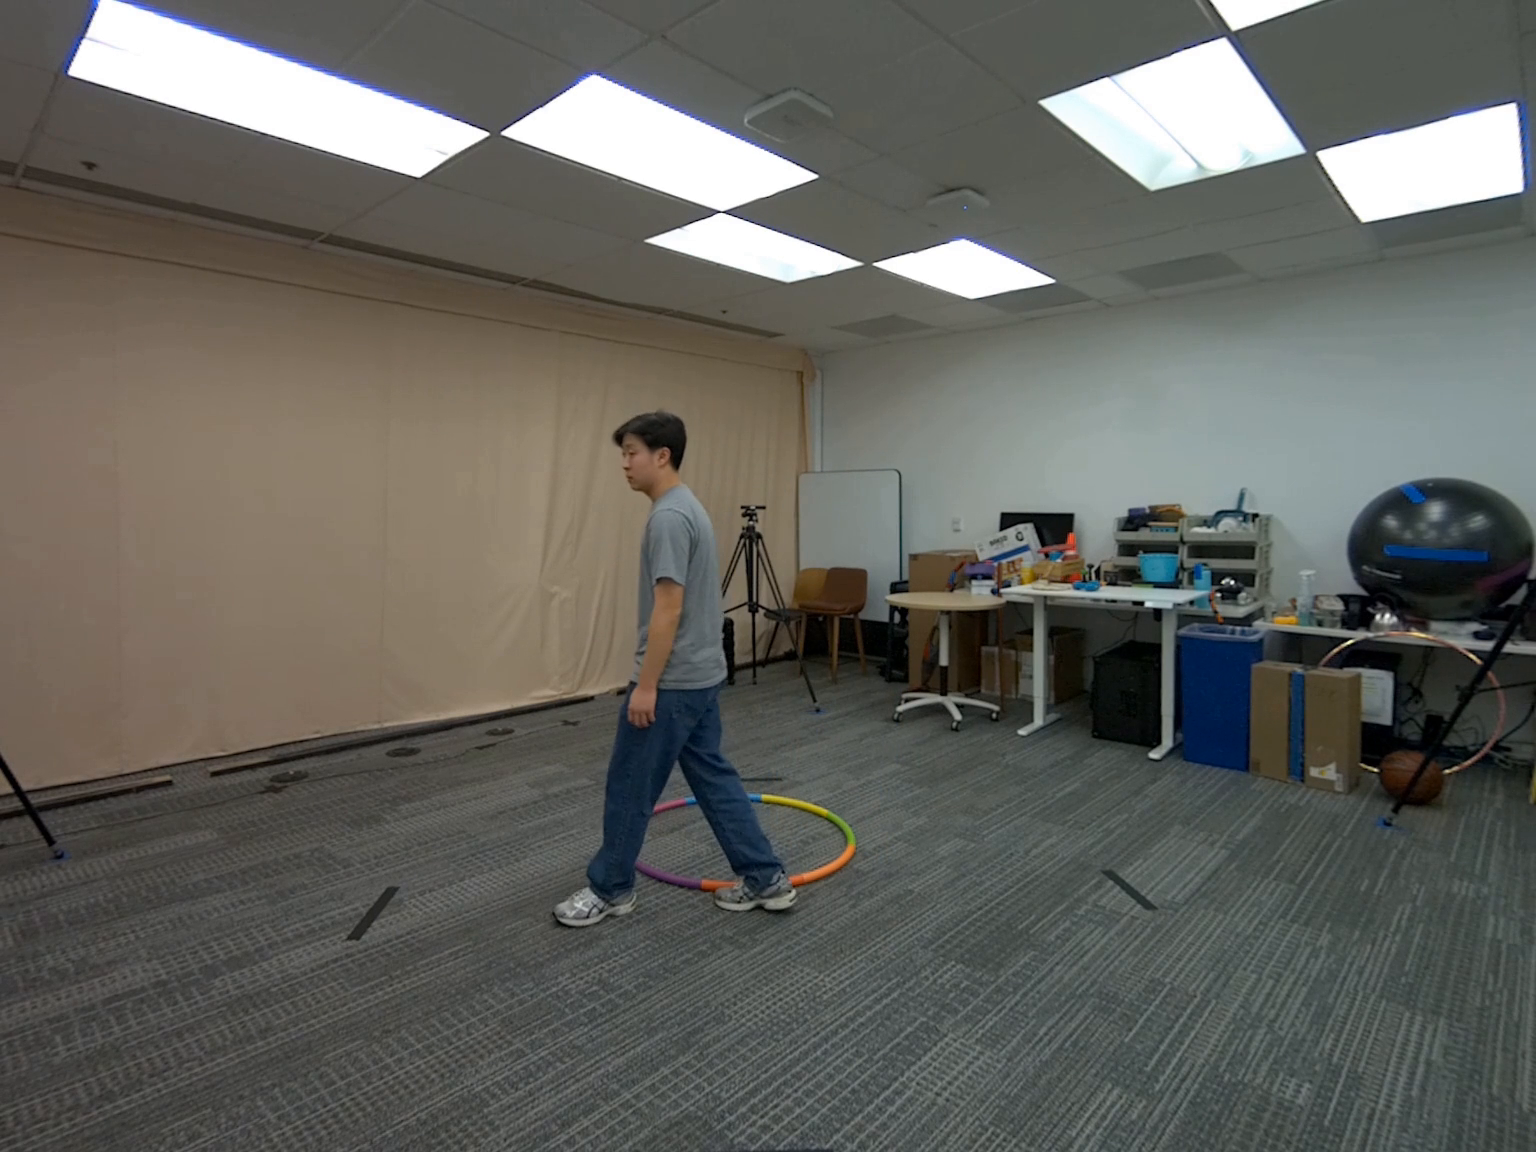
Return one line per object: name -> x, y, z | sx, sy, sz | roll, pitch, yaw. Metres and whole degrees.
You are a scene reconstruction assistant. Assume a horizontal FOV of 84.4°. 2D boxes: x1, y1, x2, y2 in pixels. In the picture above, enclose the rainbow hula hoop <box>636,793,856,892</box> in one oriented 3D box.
rainbow hula hoop -> -0.134, 1.068, 3.508 | 0.978, 0.035, 0.982 | -1, 5, -2
